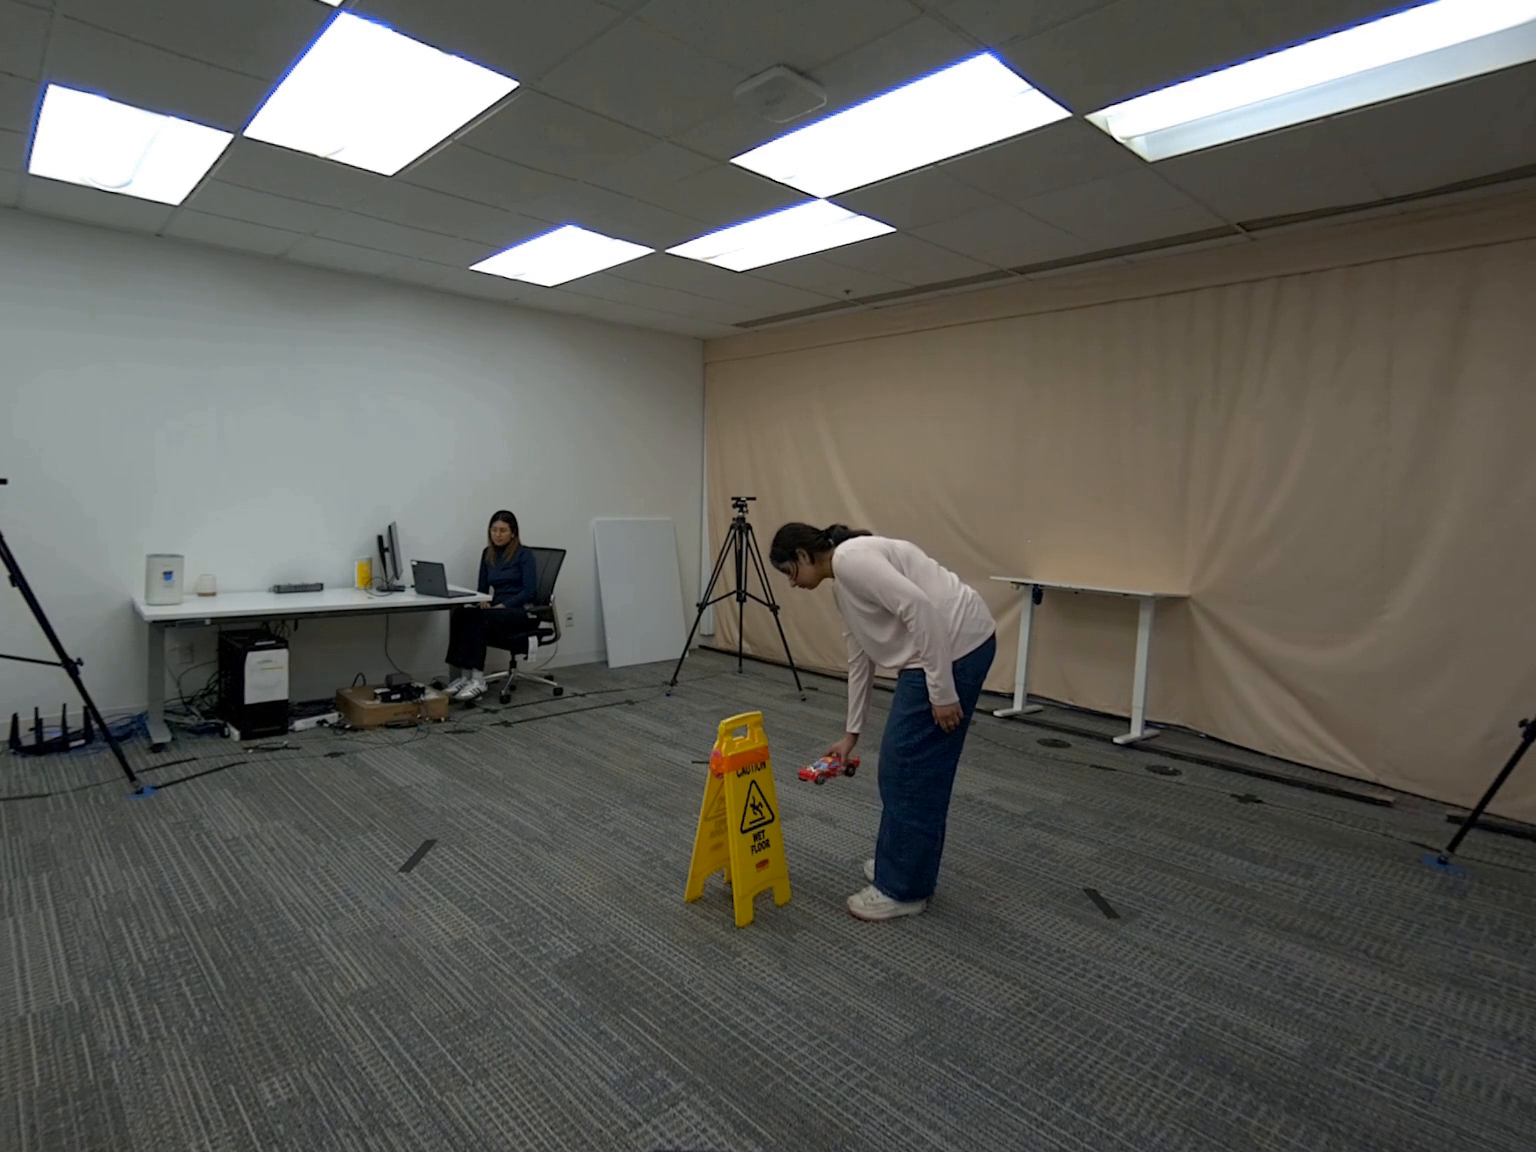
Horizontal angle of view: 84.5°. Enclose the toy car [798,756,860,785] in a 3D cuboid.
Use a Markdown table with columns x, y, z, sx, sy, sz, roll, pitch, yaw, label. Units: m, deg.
| x | y | z | sx | sy | sz | roll | pitch | yaw | label |
| --- | --- | --- | --- | --- | --- | --- | --- | --- | --- |
| 0.227 | 0.723 | 3.145 | 0.250 | 0.083 | 0.133 | -15 | 7 | -35 | toy car |
